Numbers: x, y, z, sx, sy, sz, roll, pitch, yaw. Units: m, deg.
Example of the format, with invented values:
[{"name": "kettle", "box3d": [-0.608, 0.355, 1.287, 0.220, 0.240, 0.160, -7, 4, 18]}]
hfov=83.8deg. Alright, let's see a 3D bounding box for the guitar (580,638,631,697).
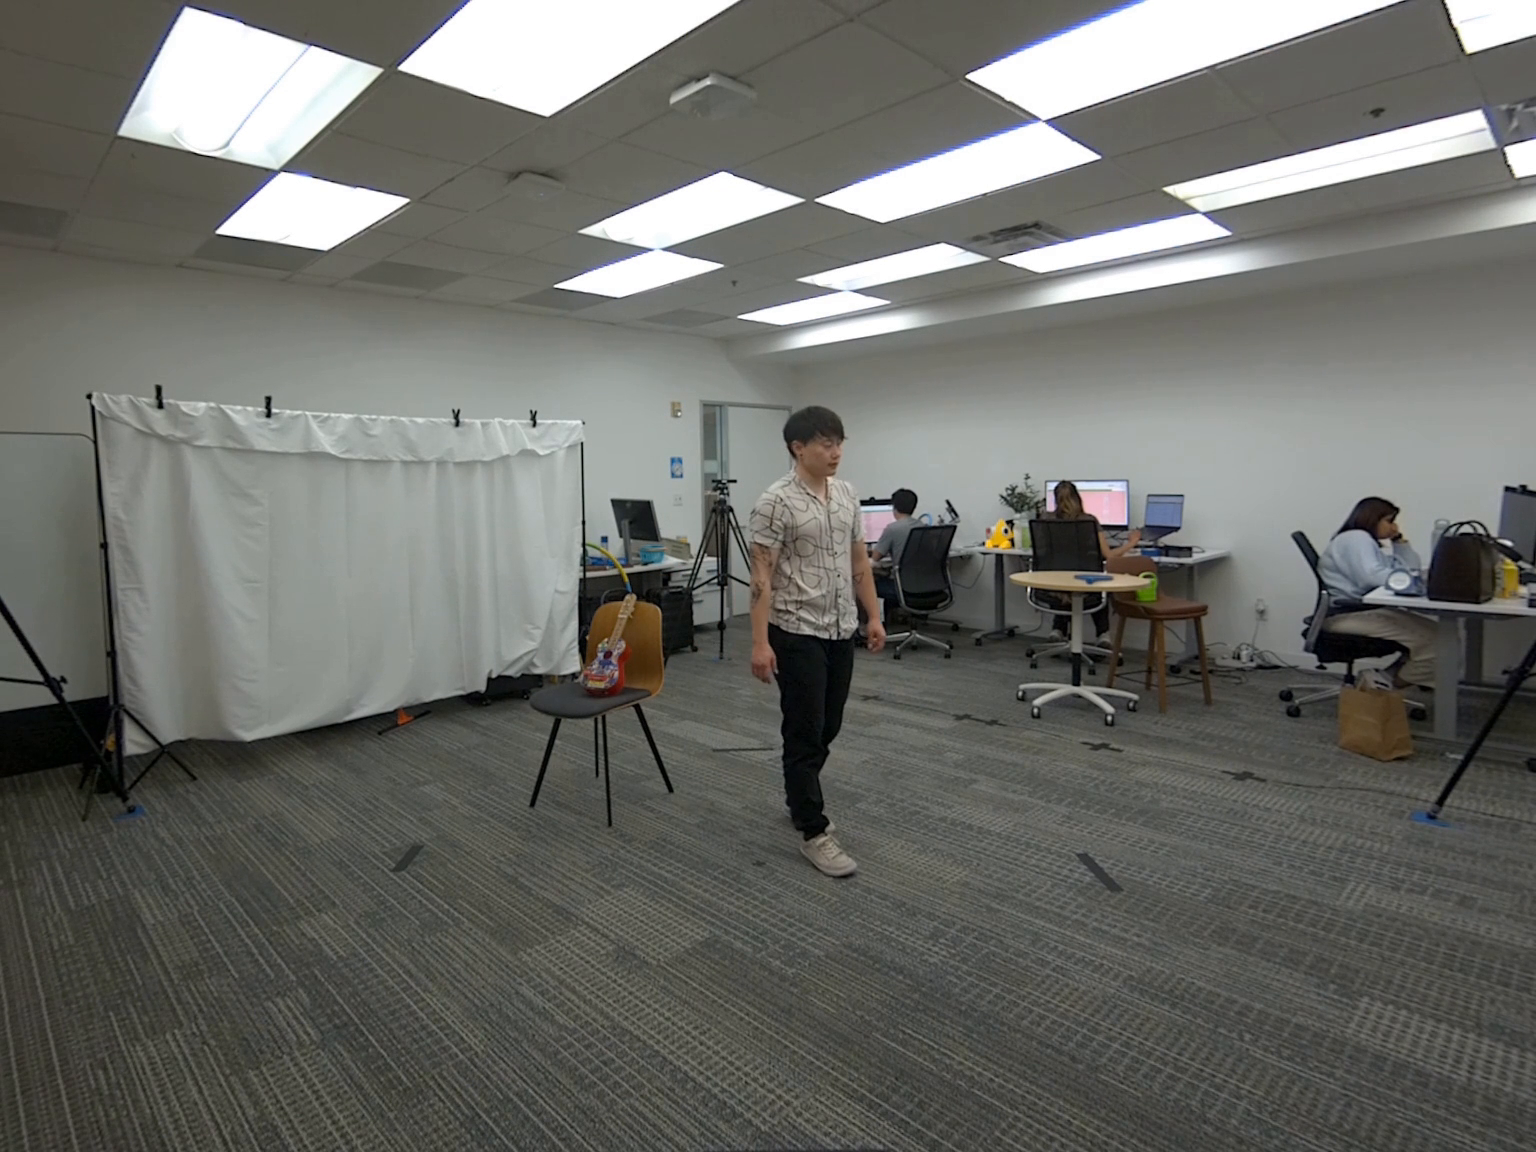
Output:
[{"name": "guitar", "box3d": [-0.660, 0.306, 3.812, 0.198, 0.502, 0.068, 7, -33, 30]}]
